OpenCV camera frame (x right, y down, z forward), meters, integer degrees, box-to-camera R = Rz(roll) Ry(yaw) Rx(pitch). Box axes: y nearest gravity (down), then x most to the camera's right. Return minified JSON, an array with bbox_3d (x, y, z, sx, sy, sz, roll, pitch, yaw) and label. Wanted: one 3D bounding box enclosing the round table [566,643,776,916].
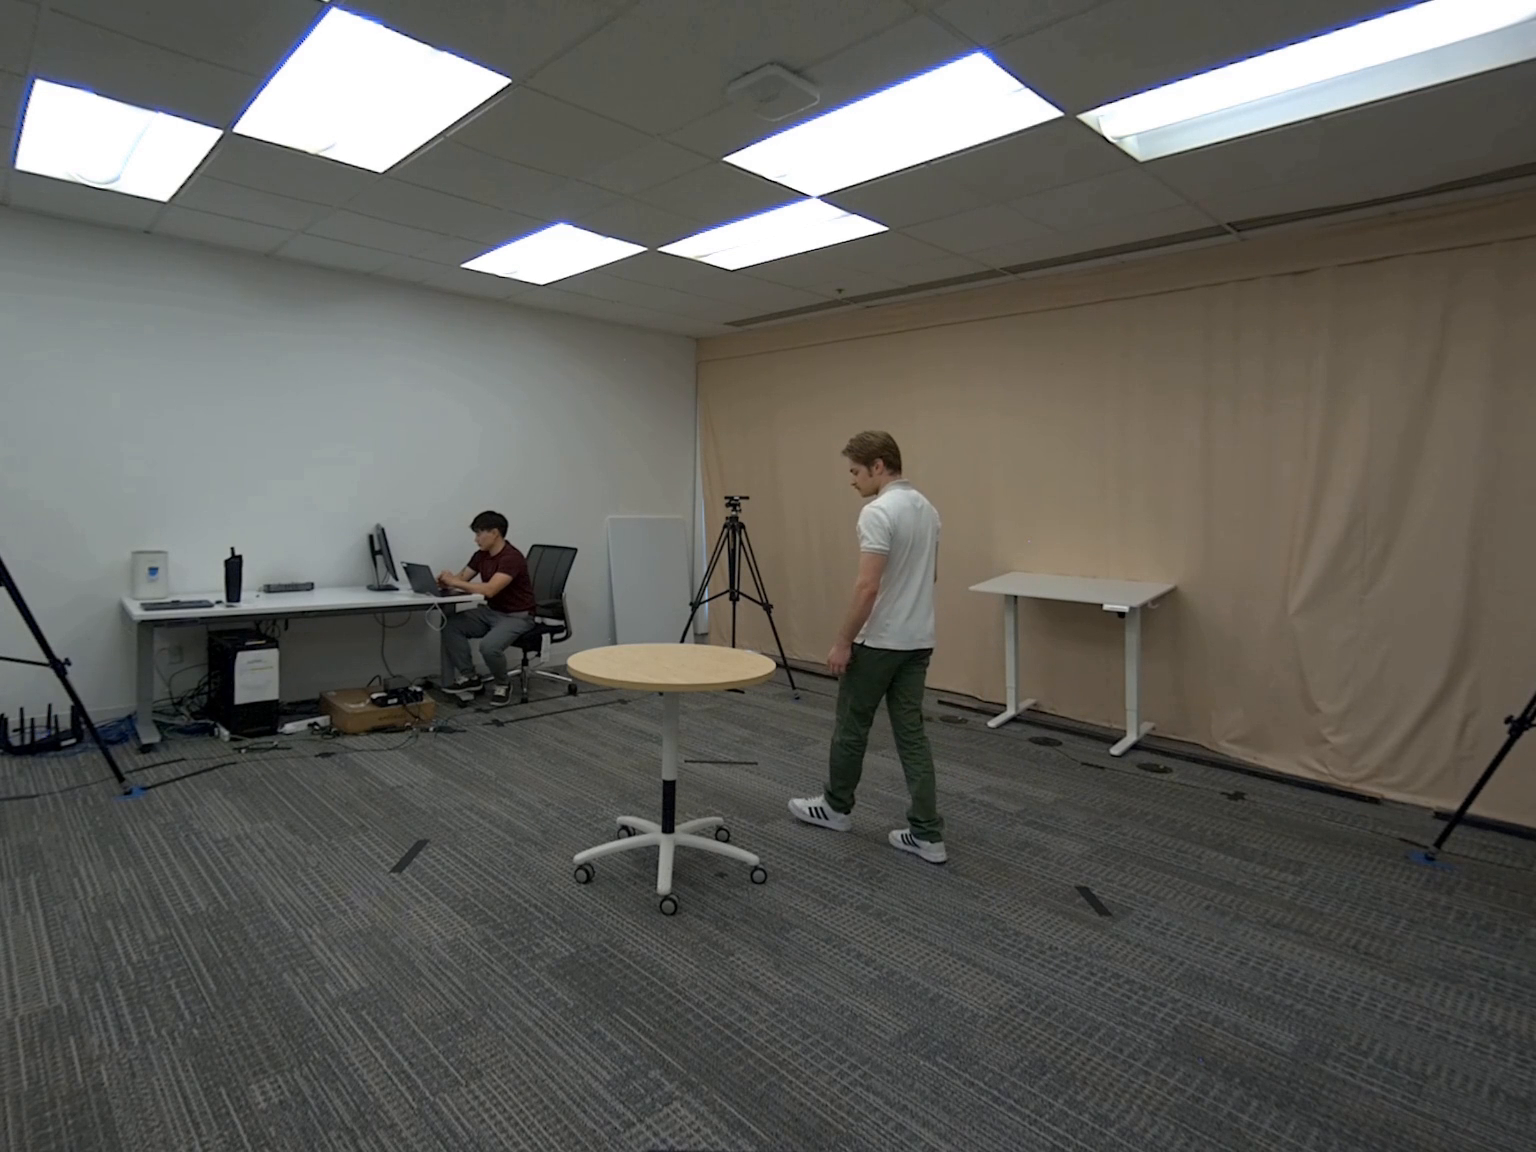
[{"bbox_3d":[-0.379,0.704,3.123,0.784,0.784,0.788,2,4,-1],"label":"round table"}]
